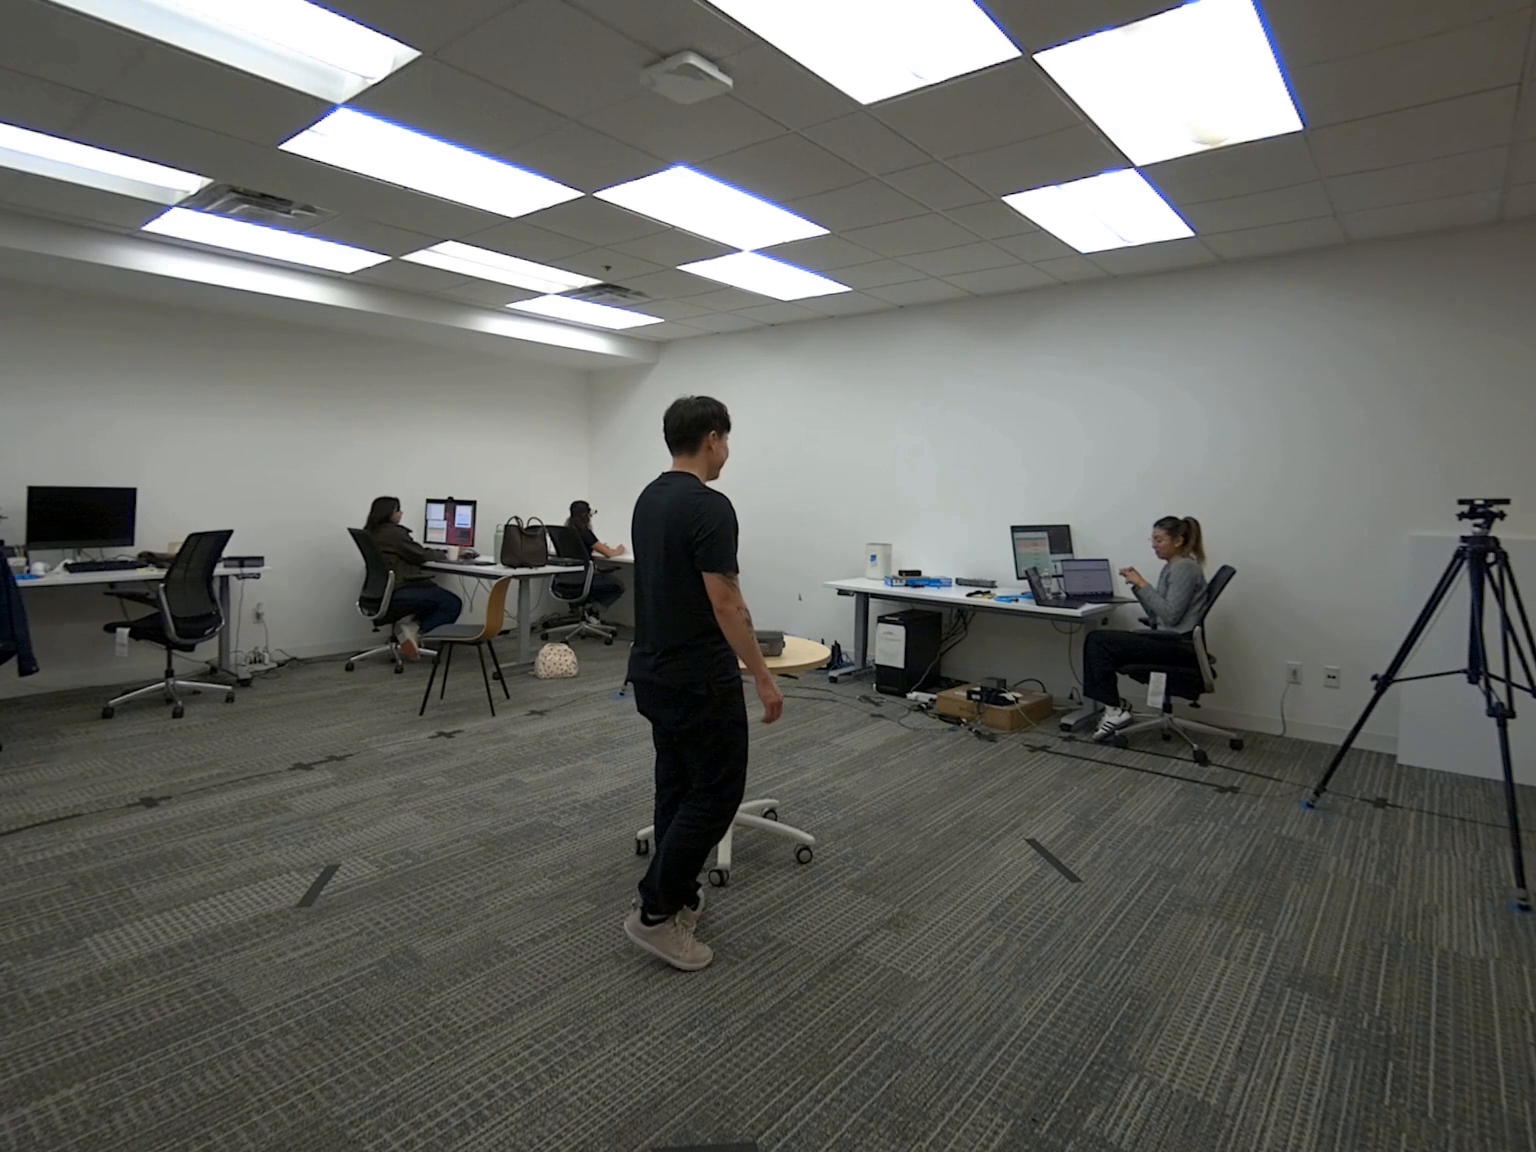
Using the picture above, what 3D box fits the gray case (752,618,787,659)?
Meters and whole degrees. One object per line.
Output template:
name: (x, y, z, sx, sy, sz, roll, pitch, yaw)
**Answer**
gray case: (-0.094, 0.230, 3.182, 0.253, 0.104, 0.265, 1, 6, -14)
